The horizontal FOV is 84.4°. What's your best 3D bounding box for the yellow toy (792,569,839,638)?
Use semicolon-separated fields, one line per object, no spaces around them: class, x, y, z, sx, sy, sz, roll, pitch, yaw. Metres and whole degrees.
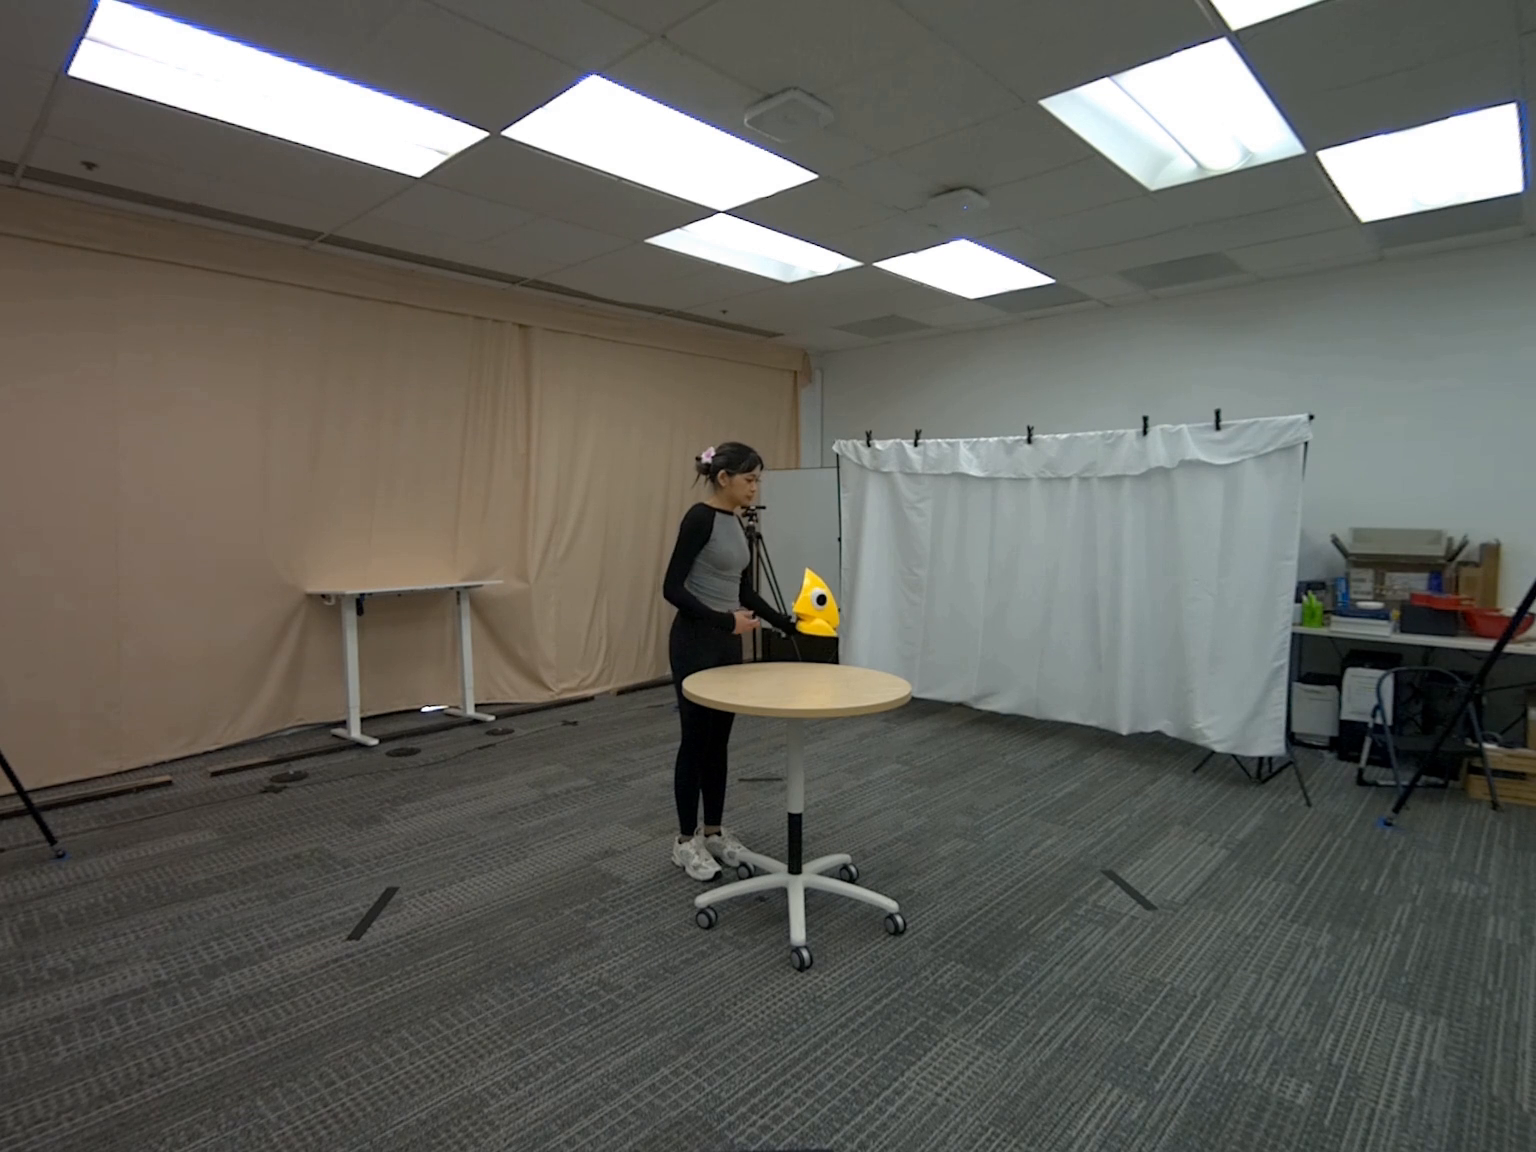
yellow toy;0.199;0.089;3.260;0.194;0.229;0.205;8;10;3
